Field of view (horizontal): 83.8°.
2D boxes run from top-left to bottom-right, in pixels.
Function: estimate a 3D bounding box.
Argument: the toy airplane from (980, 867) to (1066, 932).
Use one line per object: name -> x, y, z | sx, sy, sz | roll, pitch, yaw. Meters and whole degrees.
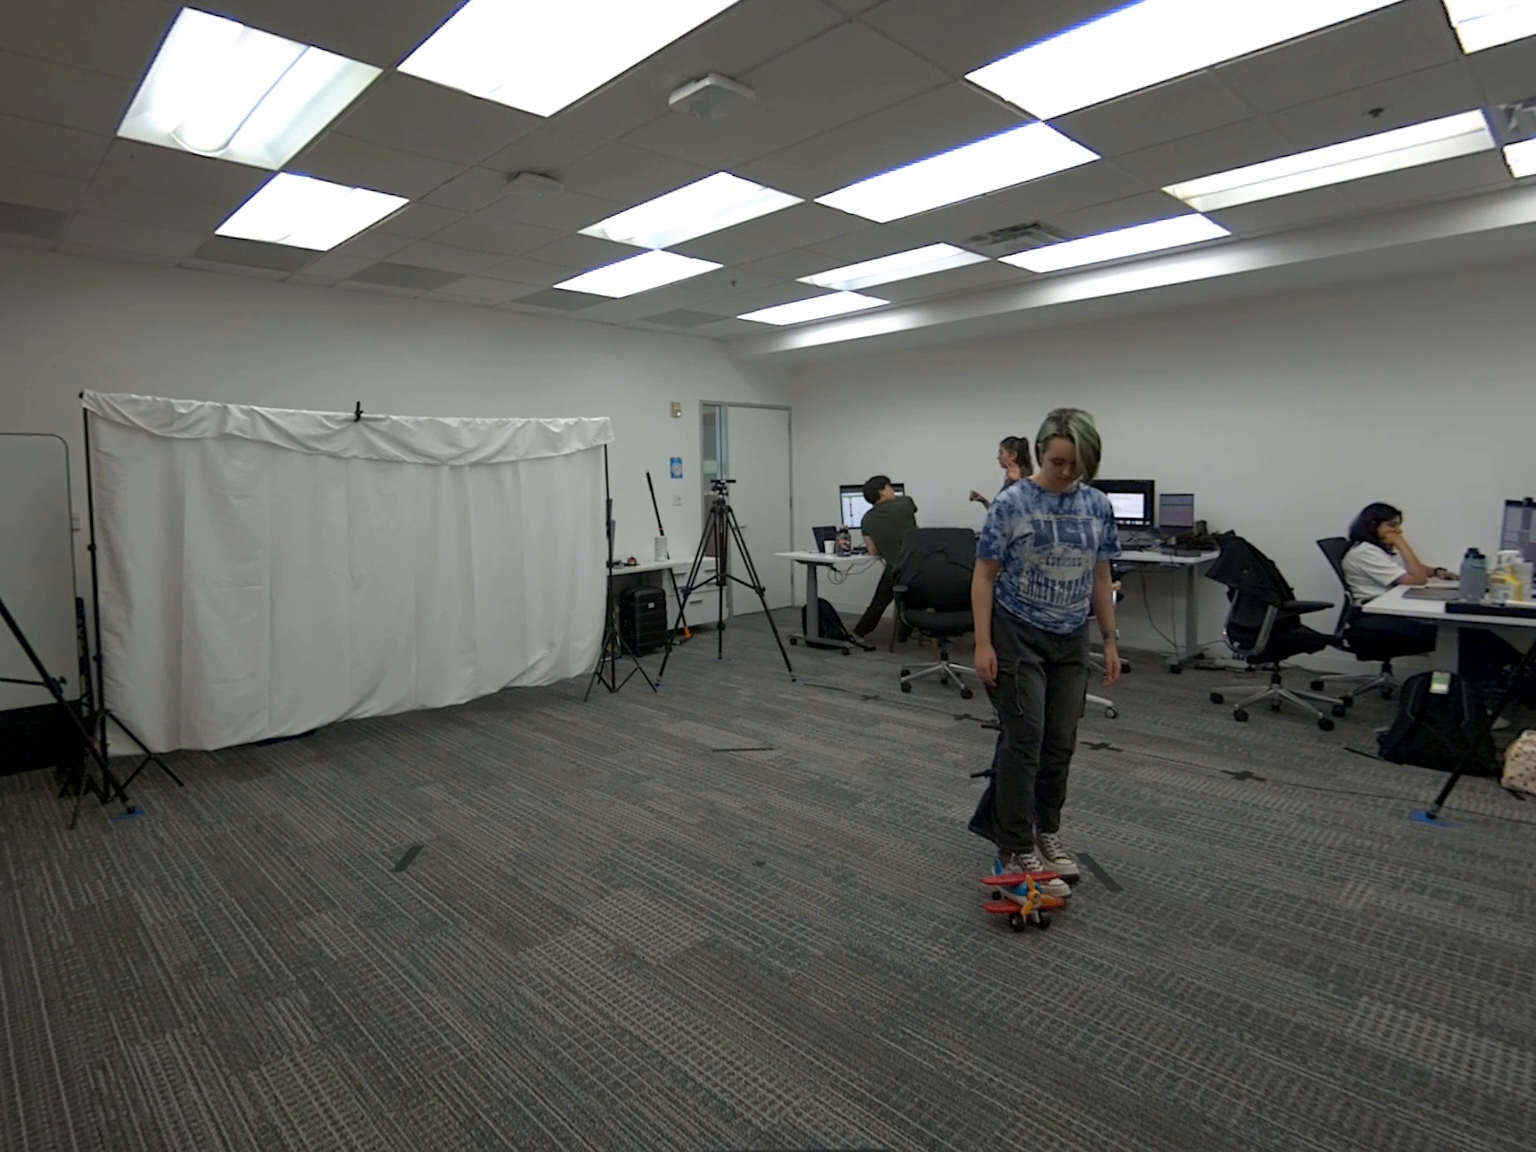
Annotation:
toy airplane -> 0.771, 1.010, 2.704 | 0.244, 0.156, 0.267 | -4, 8, -38
